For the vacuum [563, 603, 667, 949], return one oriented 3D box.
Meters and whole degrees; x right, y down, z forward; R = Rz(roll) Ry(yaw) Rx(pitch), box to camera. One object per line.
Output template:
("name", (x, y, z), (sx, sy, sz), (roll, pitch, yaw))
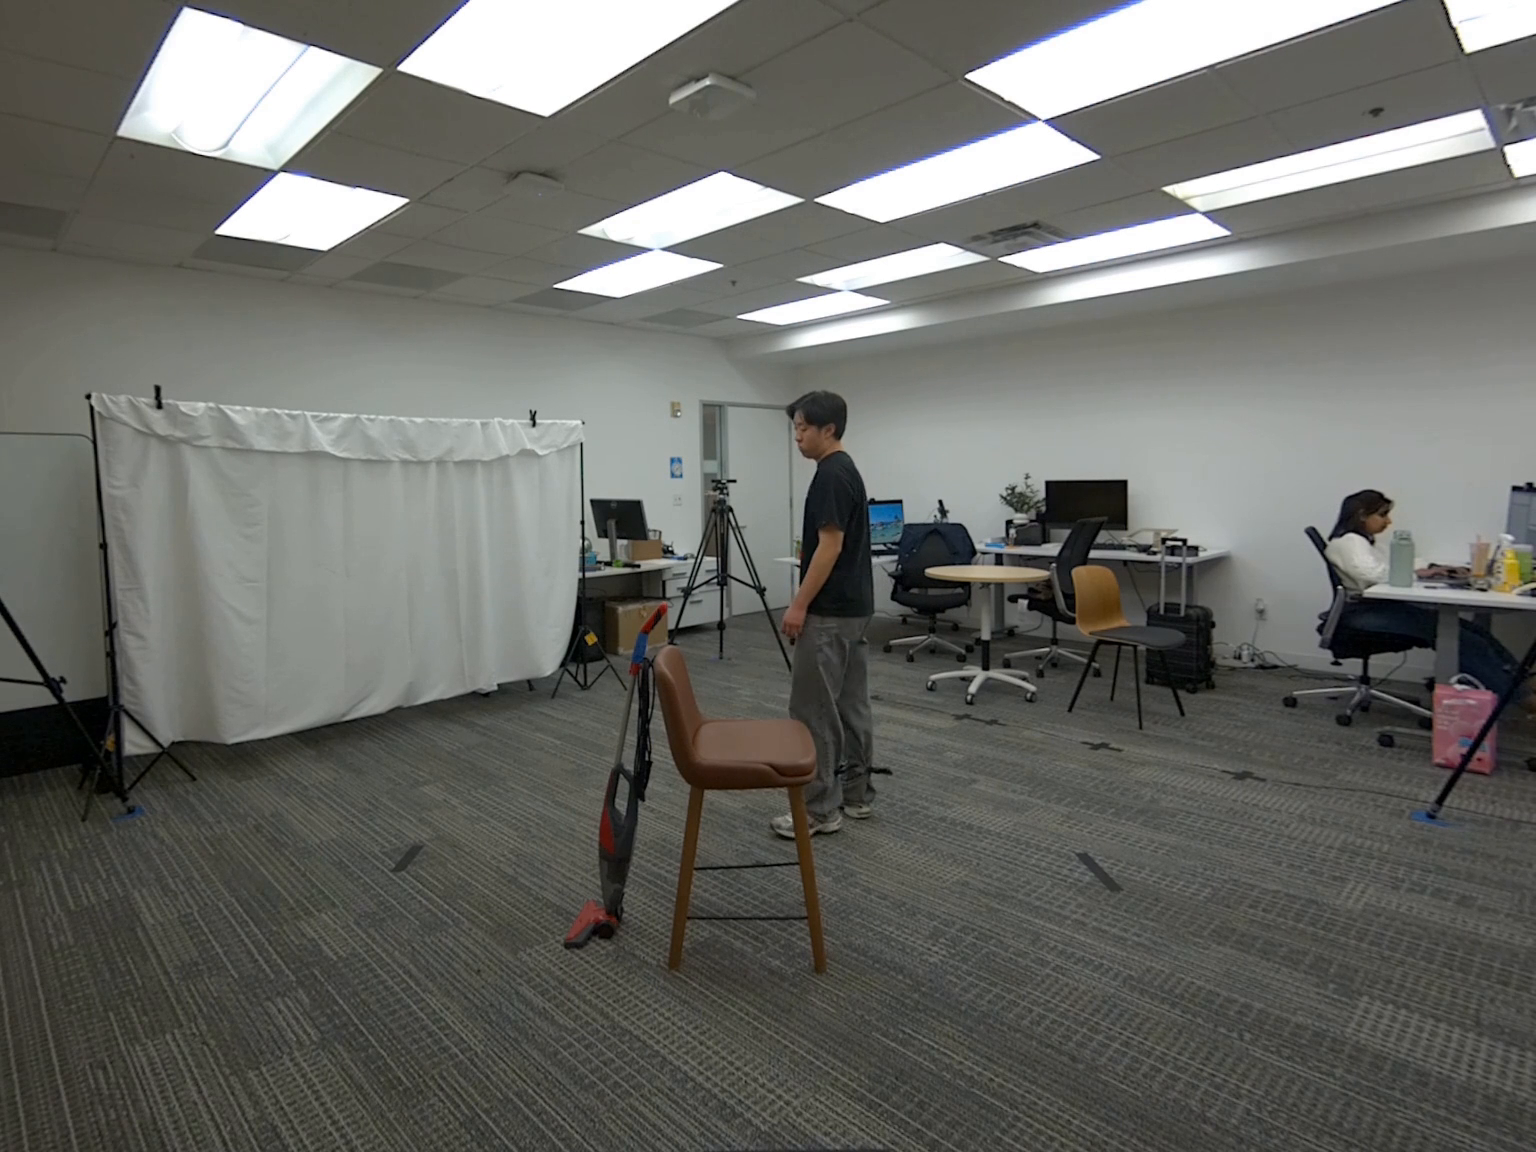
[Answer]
("vacuum", (-0.434, 0.596, 2.644), (0.144, 1.046, 0.254), (11, 4, -2))
